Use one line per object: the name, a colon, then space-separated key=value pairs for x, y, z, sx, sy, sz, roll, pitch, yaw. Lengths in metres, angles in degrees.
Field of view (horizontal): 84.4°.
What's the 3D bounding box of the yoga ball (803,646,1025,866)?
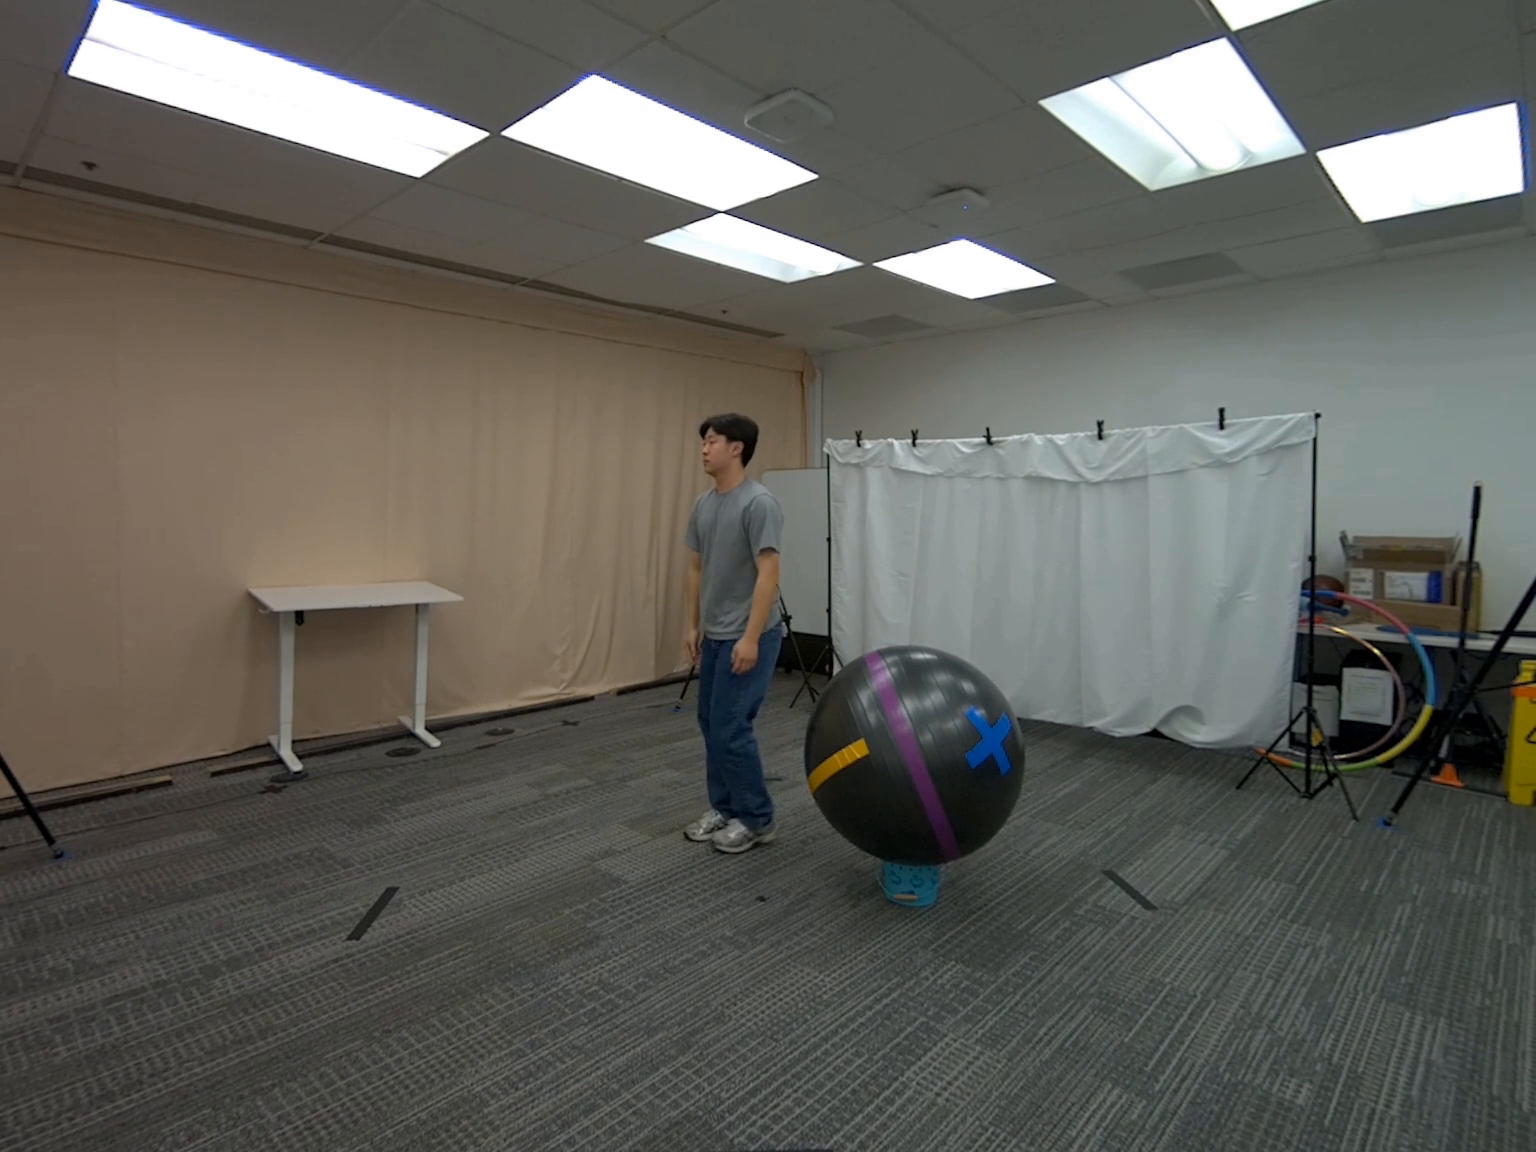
yoga ball: x=0.514 y=0.633 z=2.988 sx=0.757 sy=0.756 sz=0.760 roll=0 pitch=4 yaw=-2
